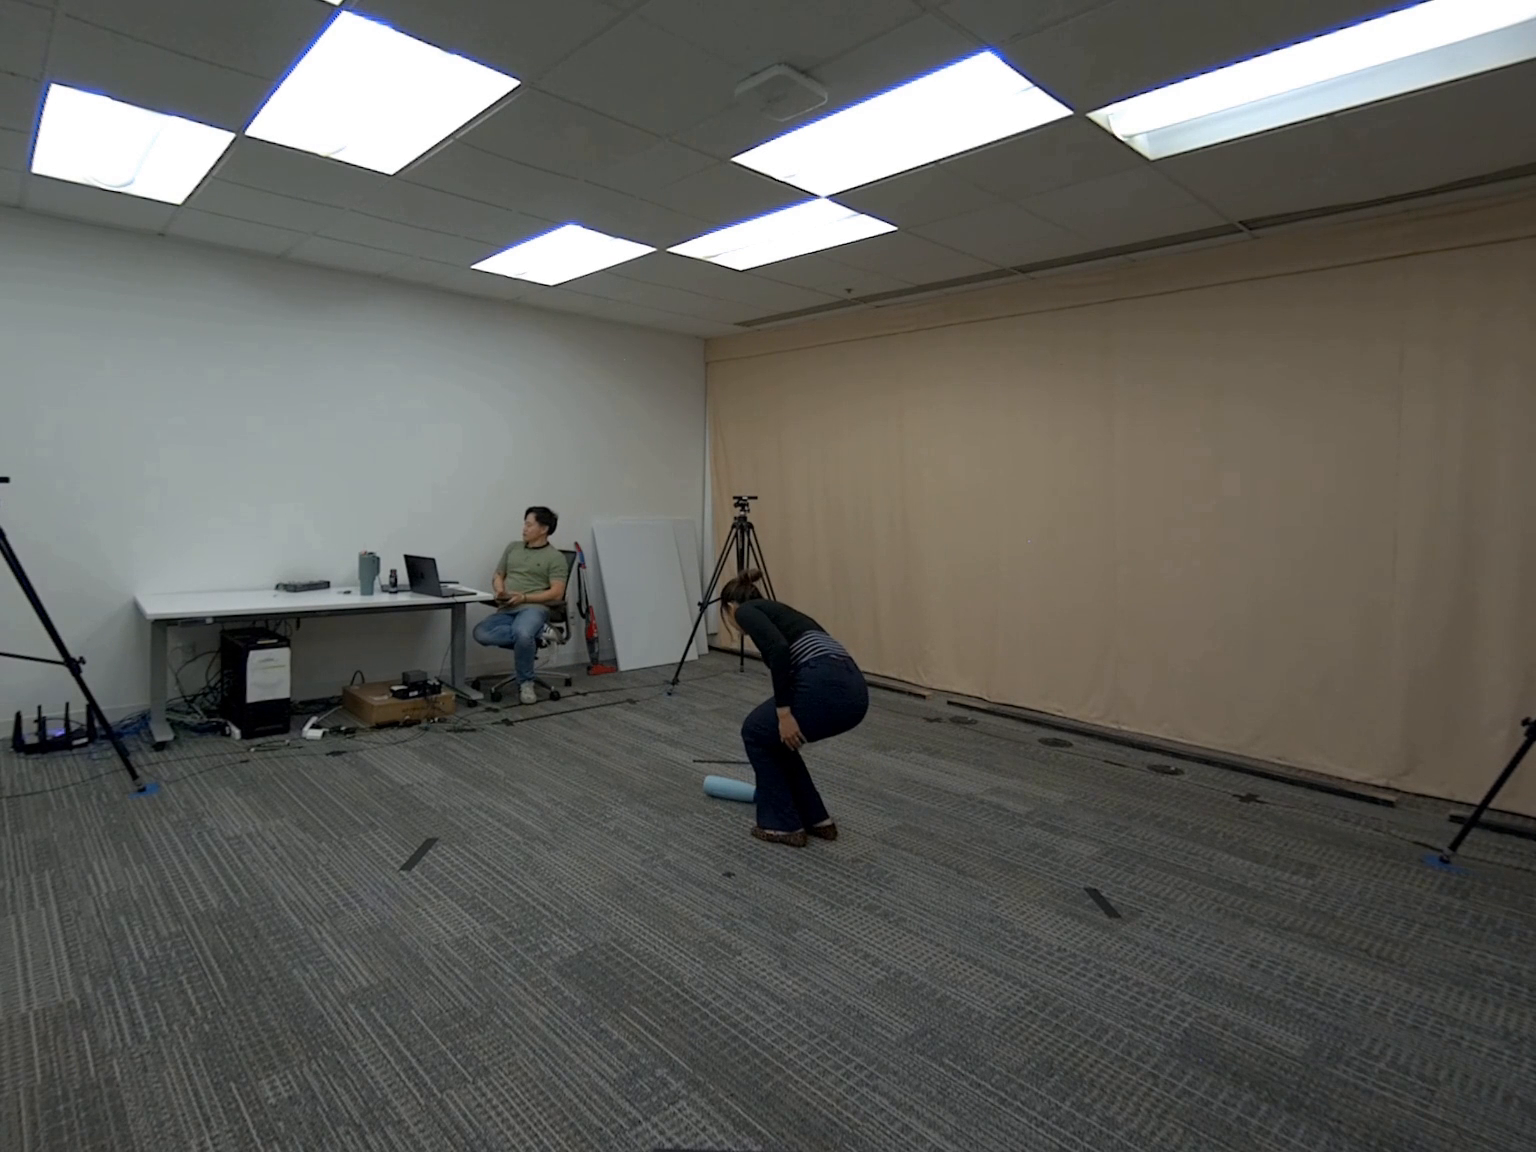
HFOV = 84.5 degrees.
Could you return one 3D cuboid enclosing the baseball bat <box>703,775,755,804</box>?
[{"bbox_3d":[-0.044,1.001,3.843,0.551,0.089,0.088,7,6,18],"label":"baseball bat"}]
